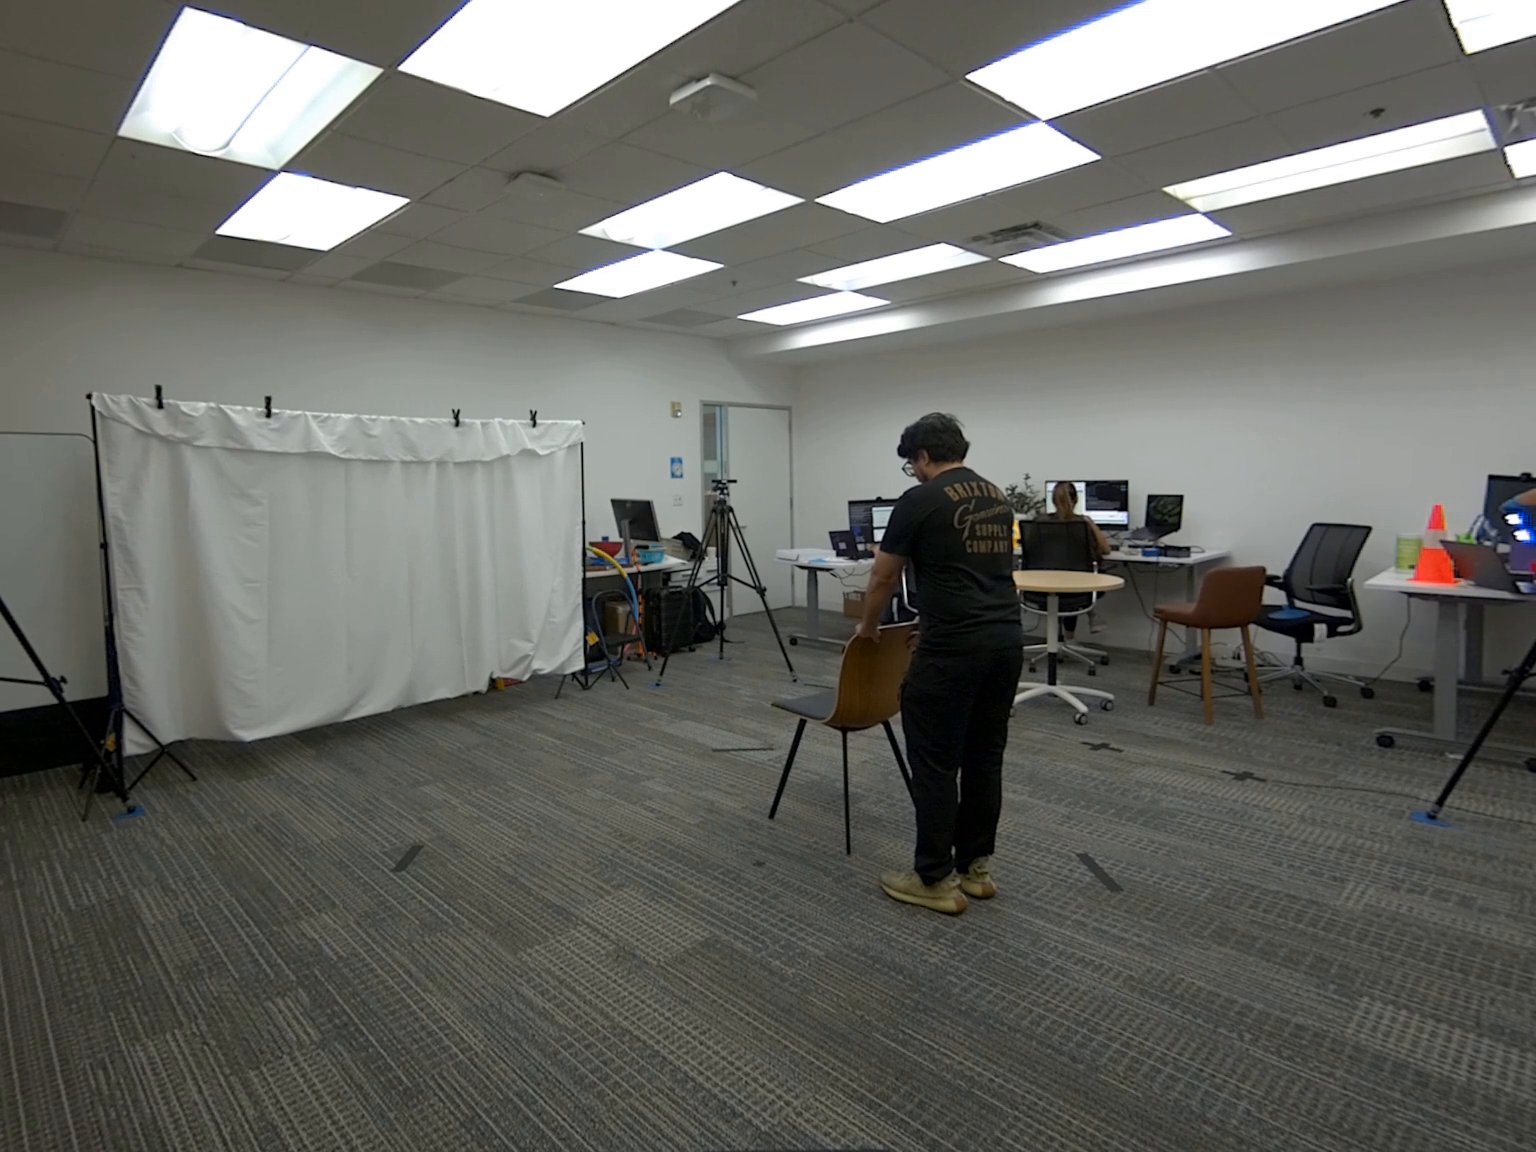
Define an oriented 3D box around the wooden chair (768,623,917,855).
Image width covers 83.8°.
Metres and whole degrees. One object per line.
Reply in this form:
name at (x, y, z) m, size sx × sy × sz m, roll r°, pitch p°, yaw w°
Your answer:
wooden chair at (0.312, 0.573, 3.452) m, size 0.465 × 0.871 × 0.541 m, roll -4°, pitch 10°, yaw -39°
